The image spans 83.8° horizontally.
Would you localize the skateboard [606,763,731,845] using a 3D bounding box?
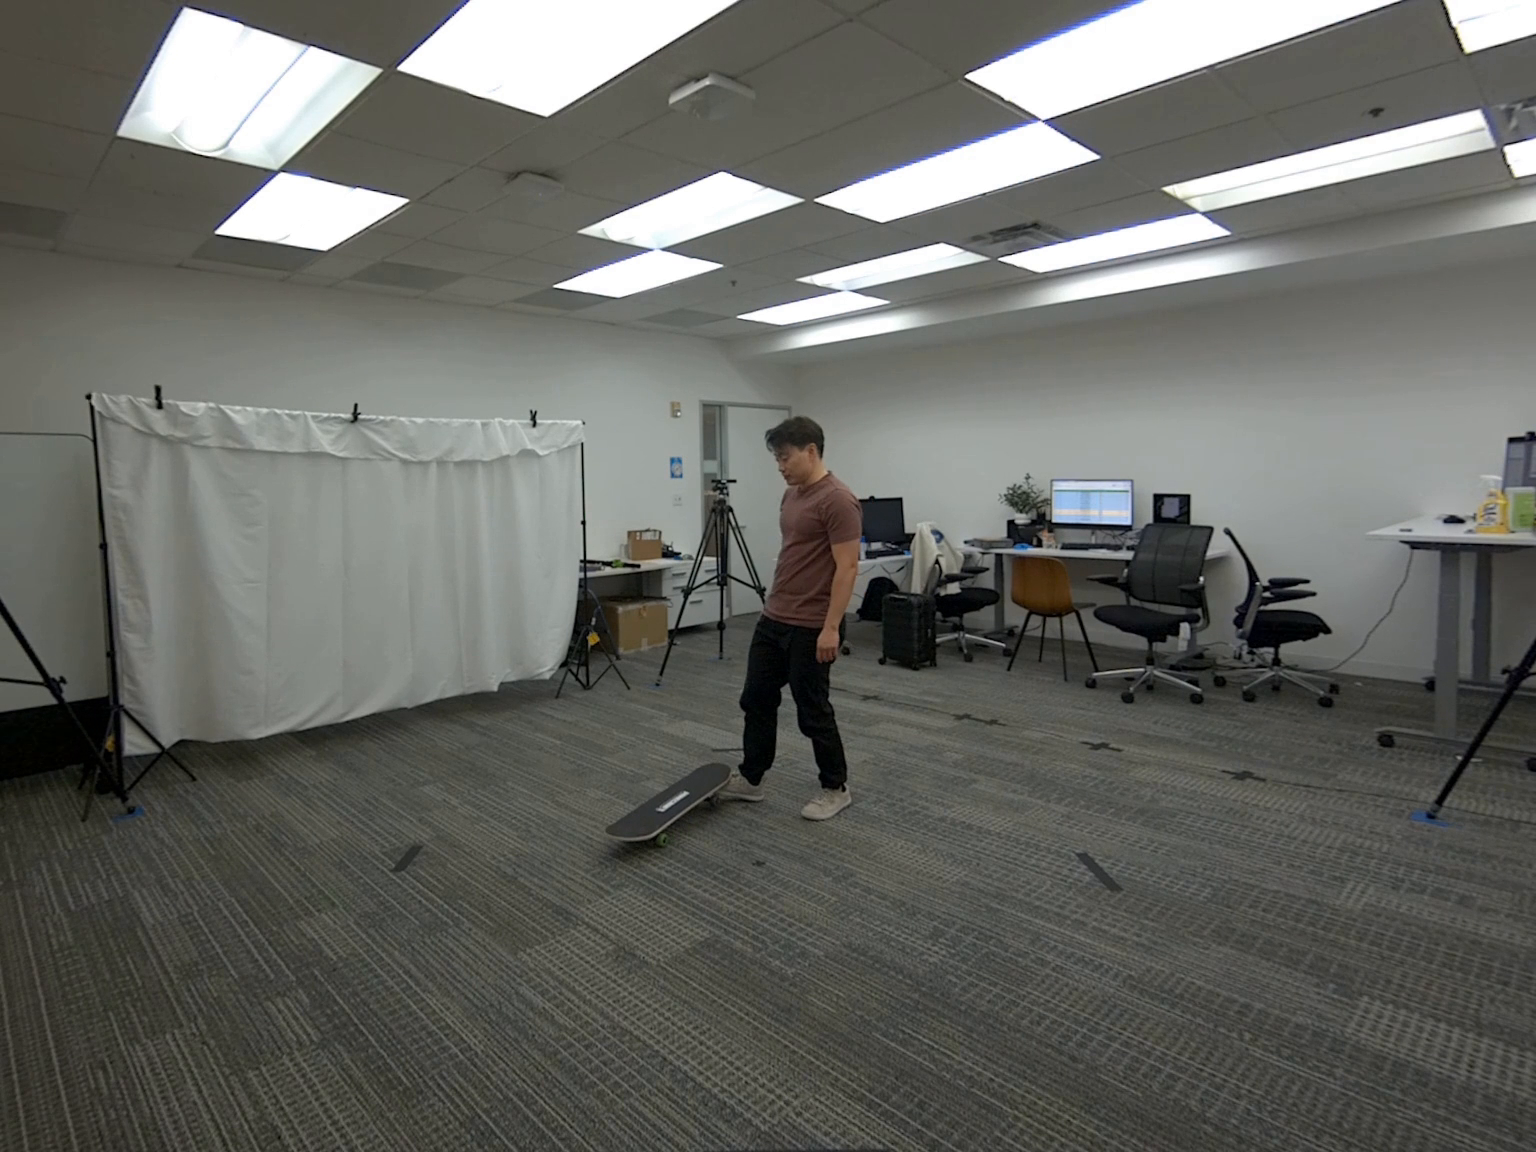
[{"bbox_3d":[-0.382,0.943,3.479,0.198,0.109,0.771,2,9,27],"label":"skateboard"}]
